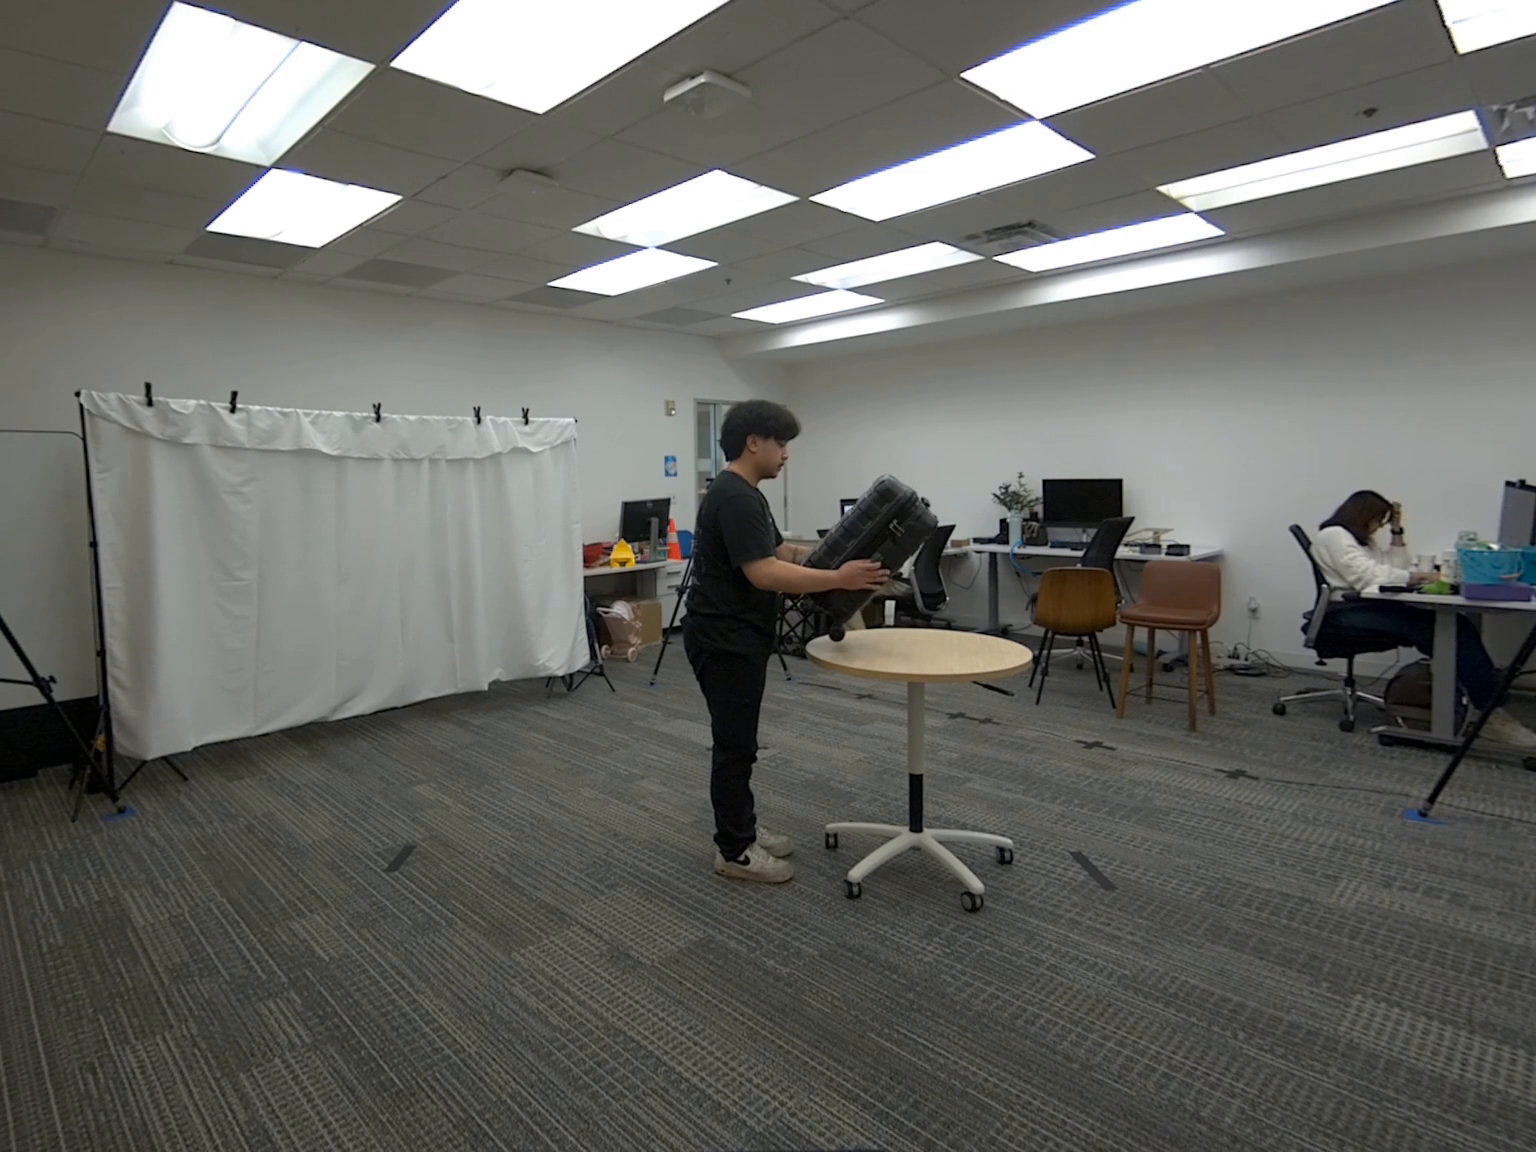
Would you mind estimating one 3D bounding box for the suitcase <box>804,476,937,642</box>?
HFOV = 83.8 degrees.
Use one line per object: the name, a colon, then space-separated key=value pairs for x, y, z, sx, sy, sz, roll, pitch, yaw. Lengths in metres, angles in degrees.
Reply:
suitcase: x=0.330 y=-0.084 z=2.984 sx=0.249 sy=0.549 sz=0.374 roll=41 pitch=9 yaw=1
